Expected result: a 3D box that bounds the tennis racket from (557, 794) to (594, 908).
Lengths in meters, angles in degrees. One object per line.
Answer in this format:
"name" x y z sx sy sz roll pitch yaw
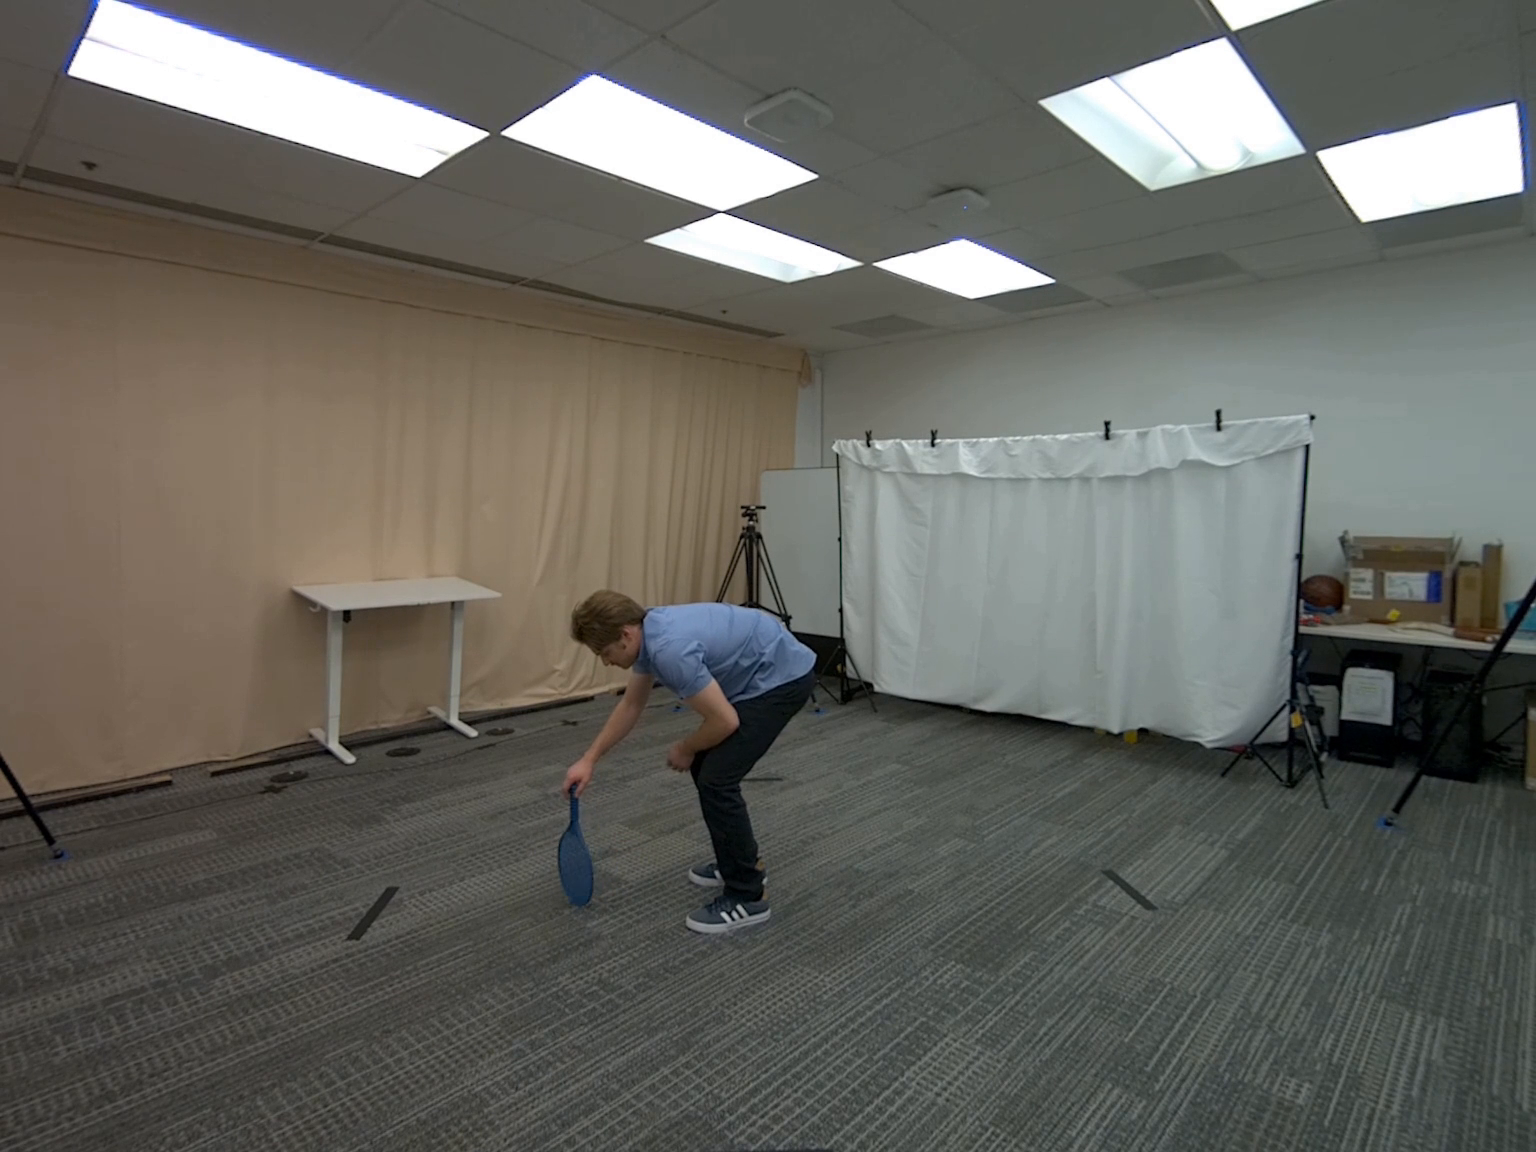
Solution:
"tennis racket" -0.672 0.939 2.931 0.031 0.431 0.221 -4 6 -36
